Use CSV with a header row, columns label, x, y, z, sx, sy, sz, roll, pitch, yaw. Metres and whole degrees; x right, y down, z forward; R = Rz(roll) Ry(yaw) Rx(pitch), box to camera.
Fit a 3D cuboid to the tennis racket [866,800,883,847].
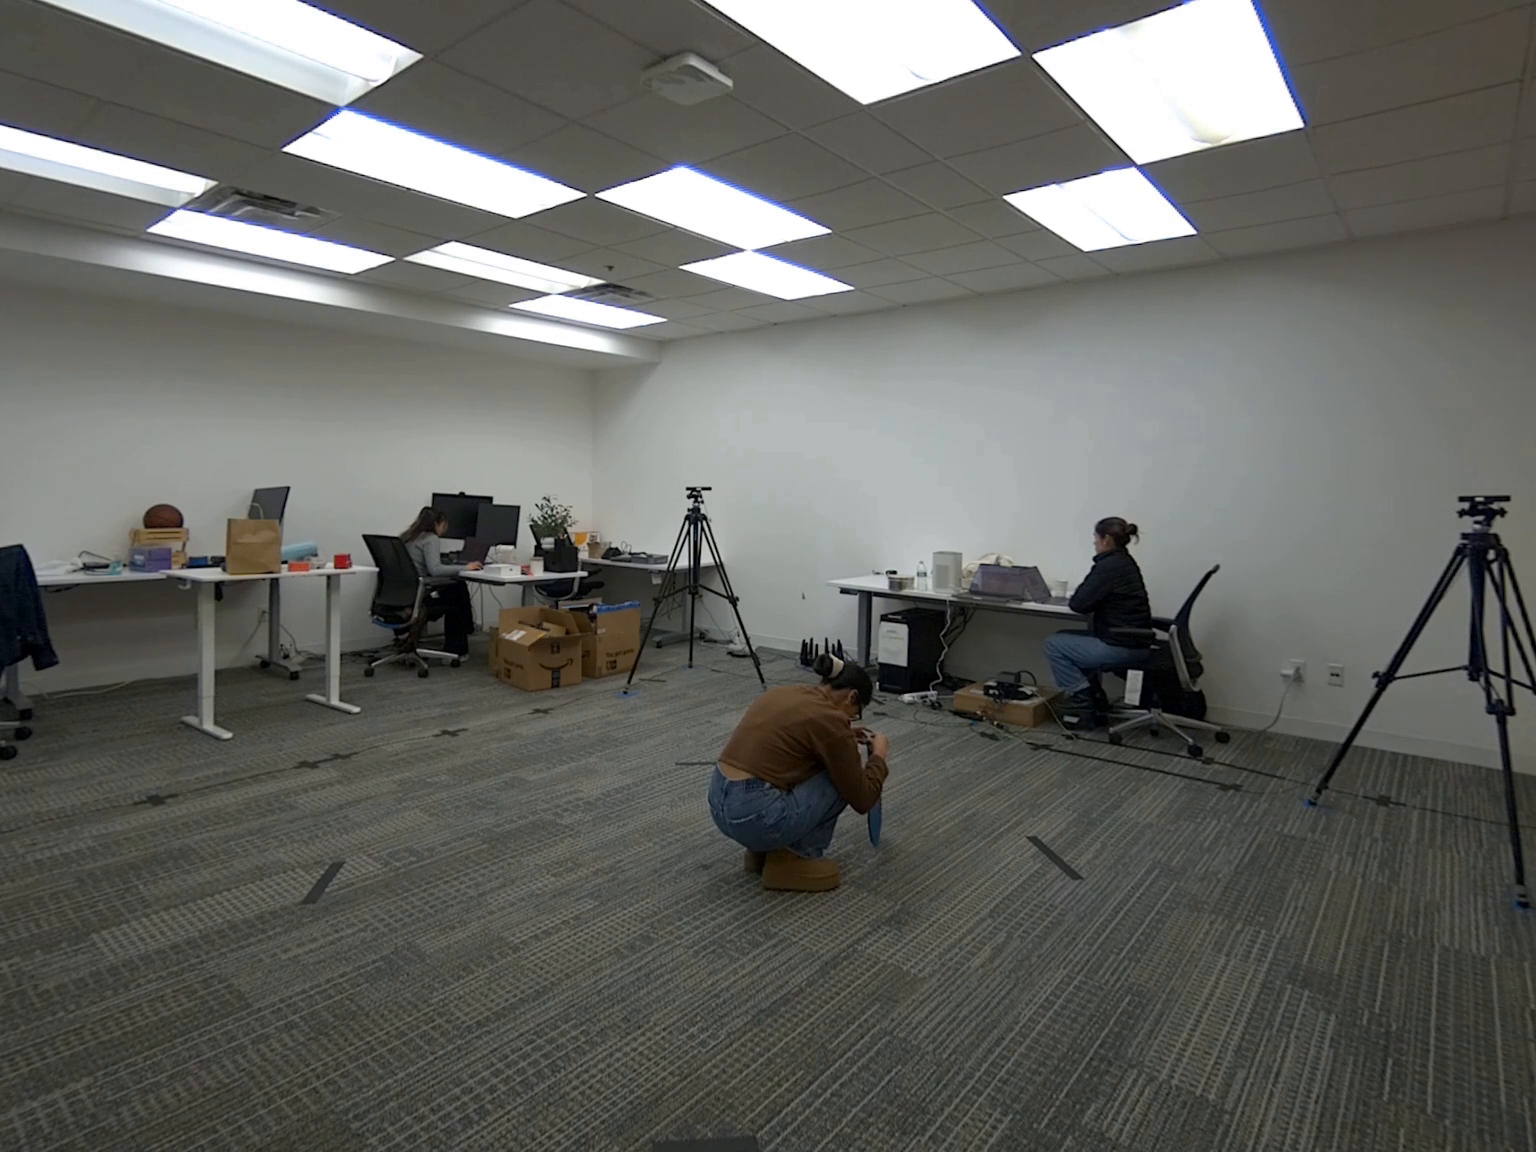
label,x,y,z,sx,sy,sz,roll,pitch,yaw
tennis racket,0.407,0.835,3.319,0.032,0.428,0.211,0,10,20
